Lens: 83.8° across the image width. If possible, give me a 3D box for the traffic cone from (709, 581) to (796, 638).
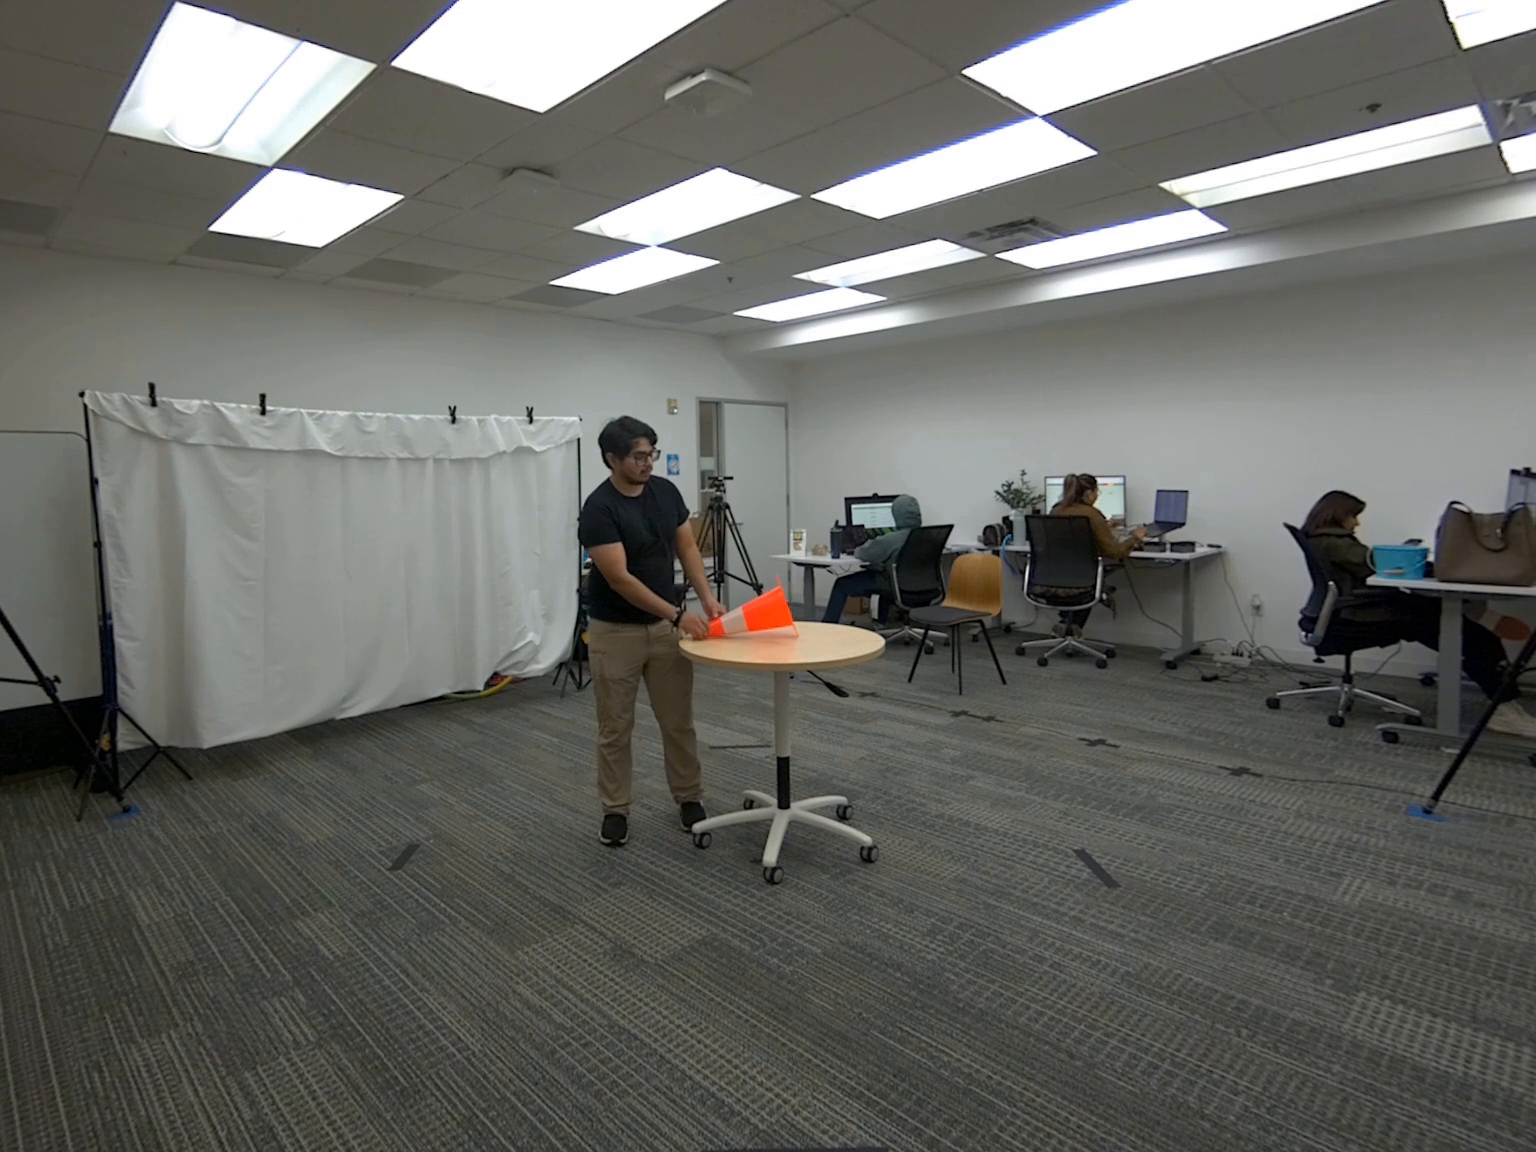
[{"bbox_3d":[-0.109,0.170,3.252,0.384,0.198,0.210,-18,46,0],"label":"traffic cone"}]
